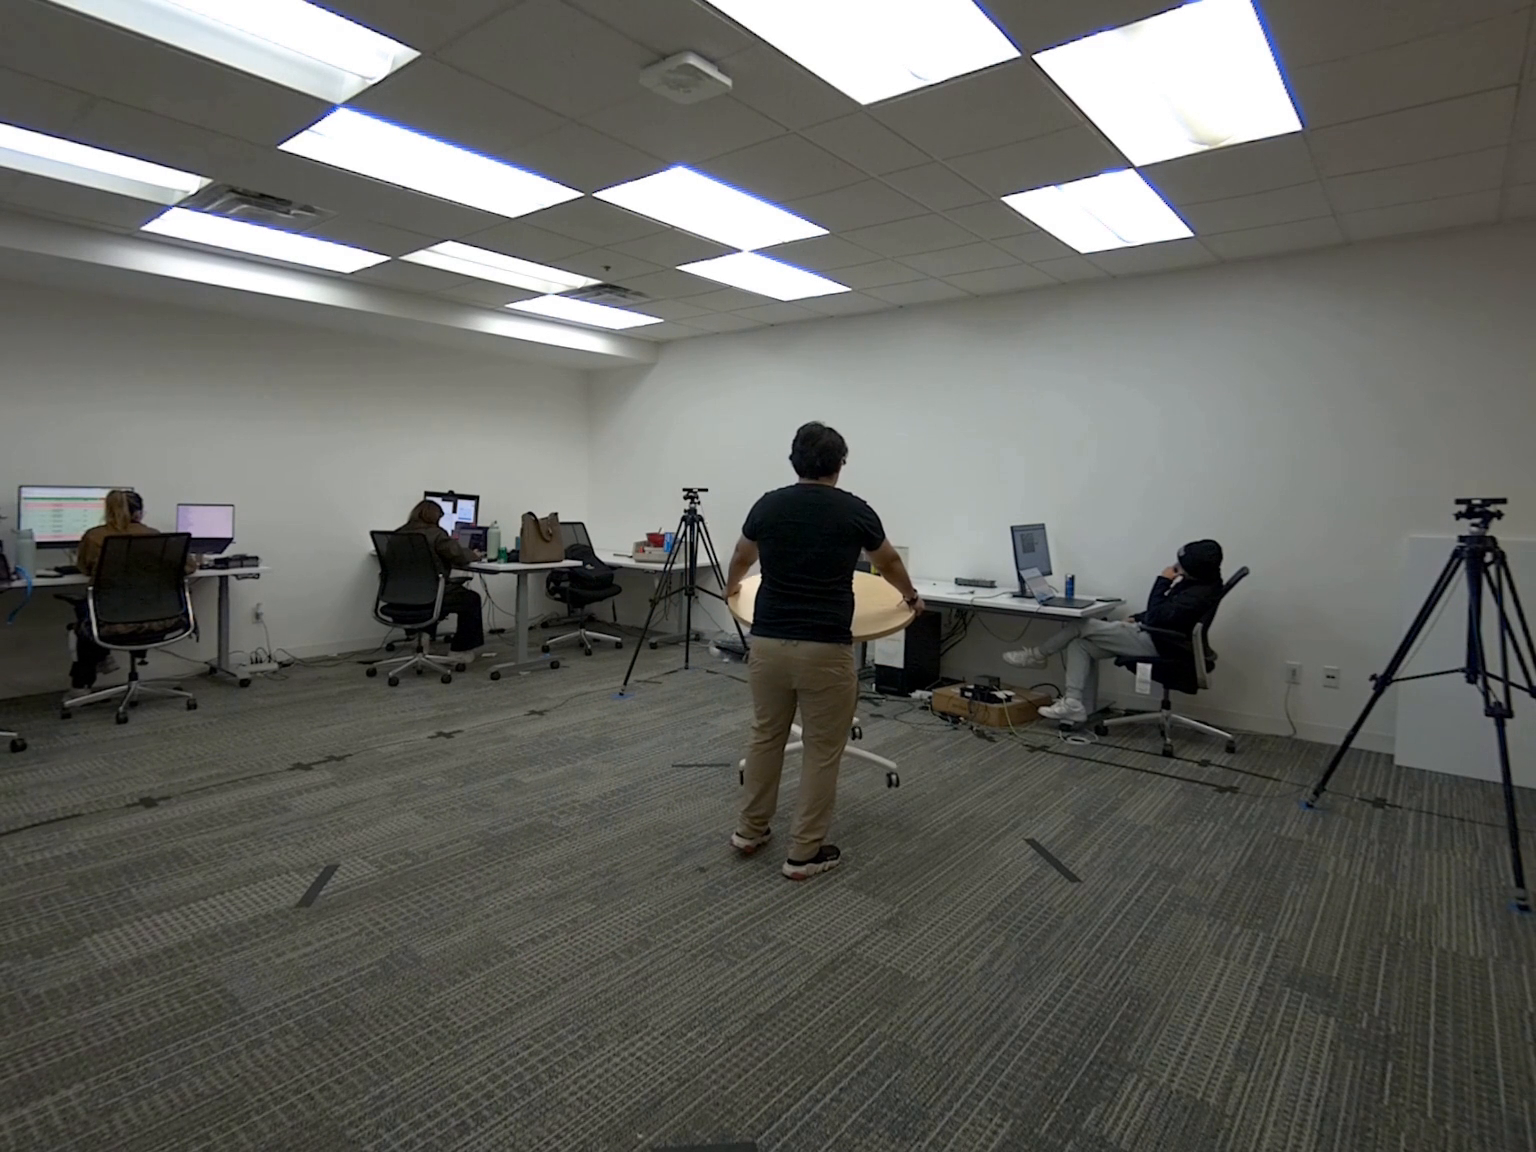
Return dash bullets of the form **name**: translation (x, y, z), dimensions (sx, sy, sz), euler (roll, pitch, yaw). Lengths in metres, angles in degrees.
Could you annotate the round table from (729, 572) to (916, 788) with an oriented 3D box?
- **round table**: translation (0.190, 0.464, 3.615), dimensions (0.784, 0.773, 0.799), euler (-1, 19, -2)
